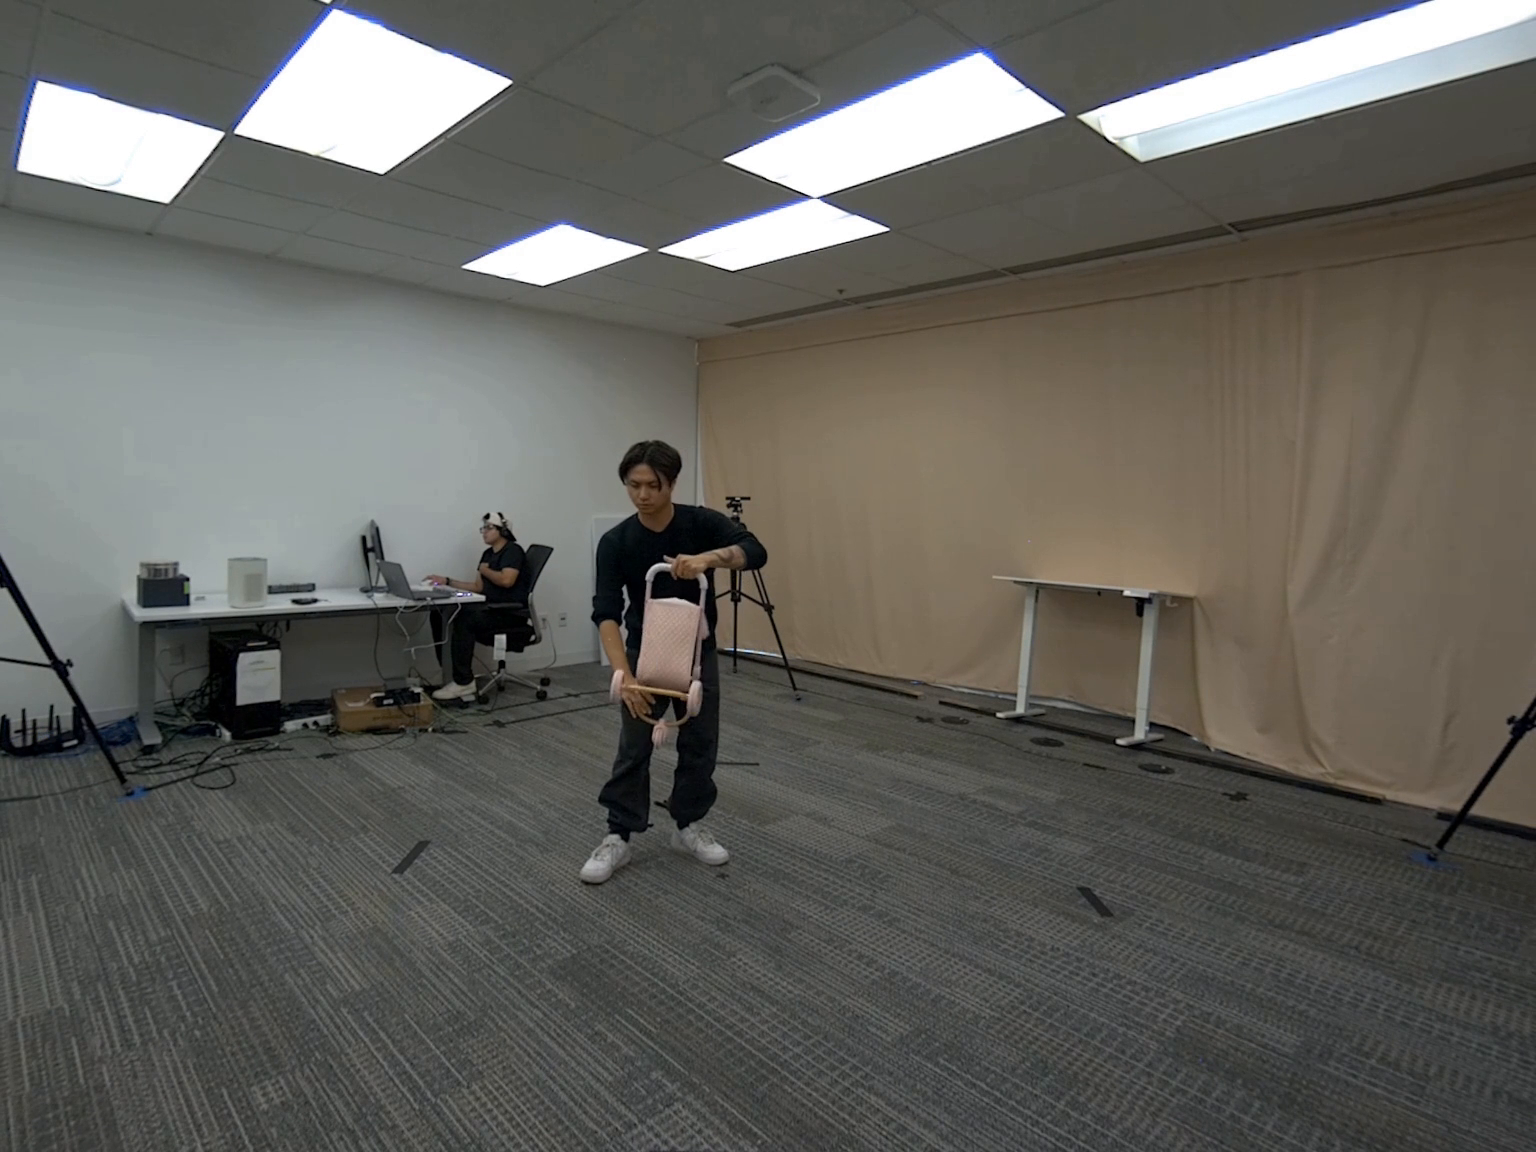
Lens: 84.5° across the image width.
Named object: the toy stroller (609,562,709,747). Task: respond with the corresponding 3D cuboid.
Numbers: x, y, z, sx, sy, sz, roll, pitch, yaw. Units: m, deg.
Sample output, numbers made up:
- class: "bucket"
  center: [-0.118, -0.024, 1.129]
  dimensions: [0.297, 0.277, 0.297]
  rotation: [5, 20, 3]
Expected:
- class: "toy stroller"
  center: [-0.344, 0.279, 2.795]
  dimensions: [0.283, 0.543, 0.334]
  rotation: [5, -28, 6]
